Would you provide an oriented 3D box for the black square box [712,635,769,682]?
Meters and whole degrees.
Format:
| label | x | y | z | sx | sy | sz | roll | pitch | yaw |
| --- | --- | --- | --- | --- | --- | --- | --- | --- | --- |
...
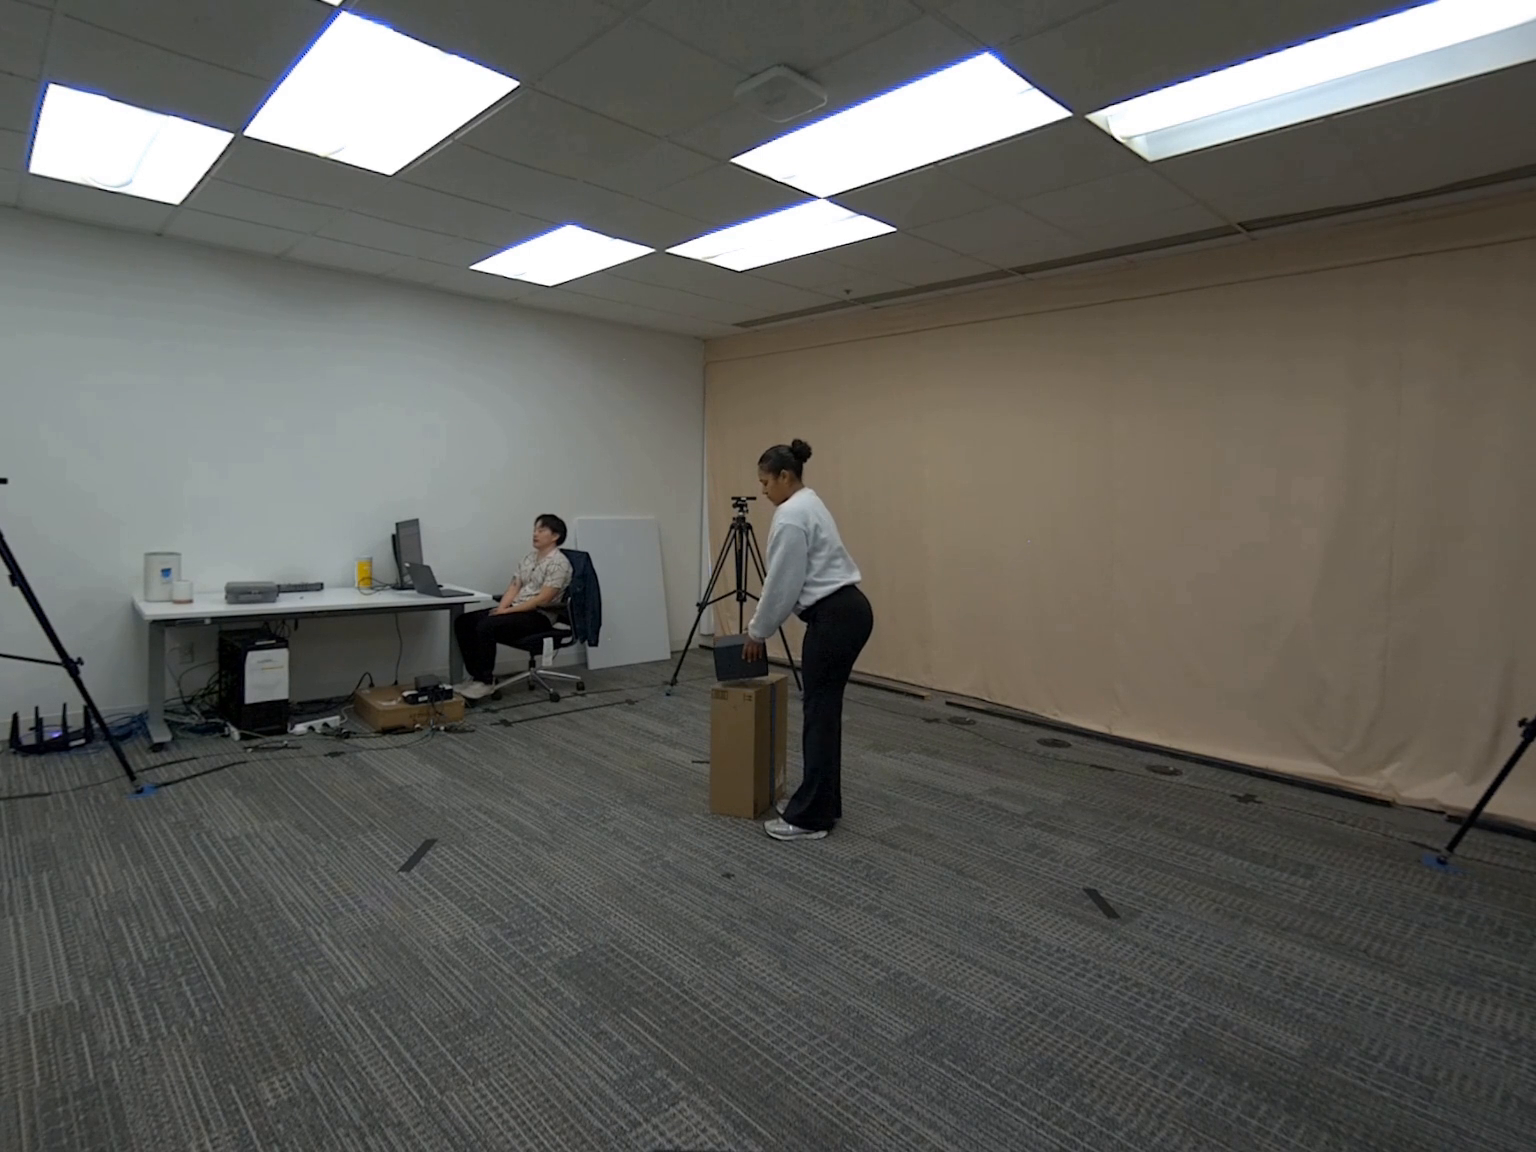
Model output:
| label | x | y | z | sx | sy | sz | roll | pitch | yaw |
| --- | --- | --- | --- | --- | --- | --- | --- | --- | --- |
| black square box | -0.136 | 0.348 | 3.737 | 0.227 | 0.155 | 0.218 | -6 | 8 | -3 |
